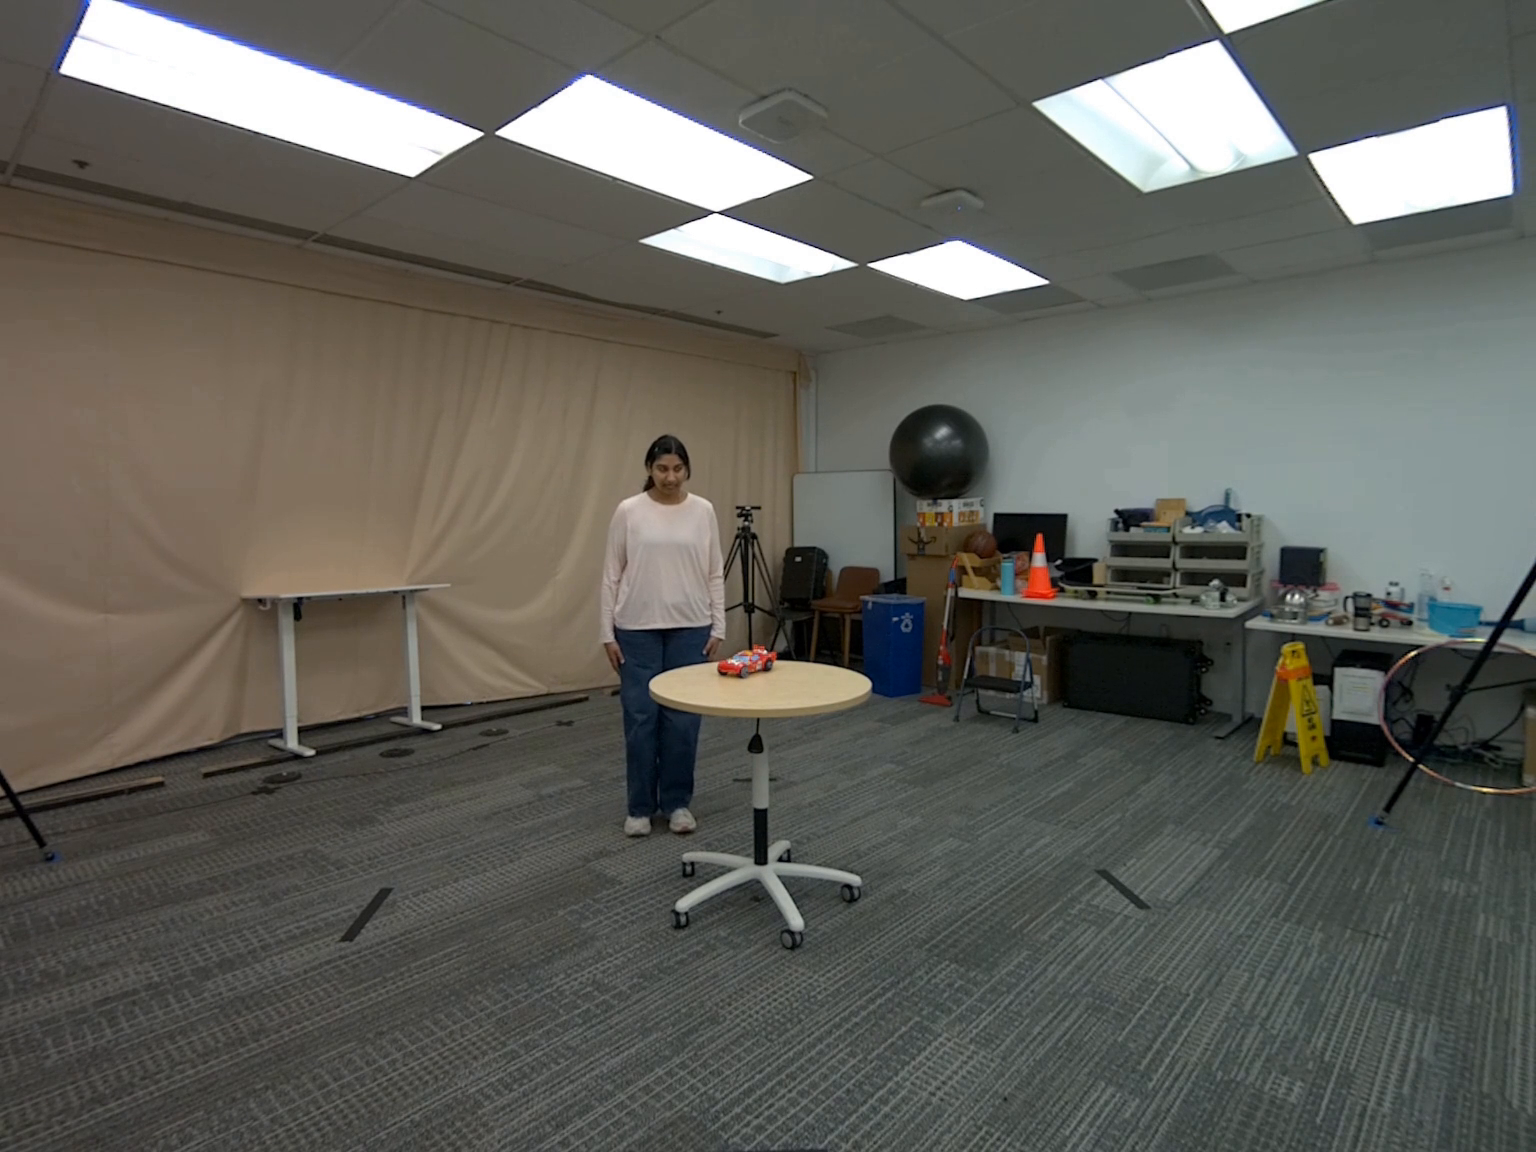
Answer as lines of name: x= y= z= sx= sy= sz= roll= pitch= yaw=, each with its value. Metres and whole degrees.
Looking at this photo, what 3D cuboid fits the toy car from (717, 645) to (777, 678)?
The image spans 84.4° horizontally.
toy car: x=-0.065 y=0.321 z=3.081 sx=0.134 sy=0.082 sz=0.249 roll=3 pitch=18 yaw=38
